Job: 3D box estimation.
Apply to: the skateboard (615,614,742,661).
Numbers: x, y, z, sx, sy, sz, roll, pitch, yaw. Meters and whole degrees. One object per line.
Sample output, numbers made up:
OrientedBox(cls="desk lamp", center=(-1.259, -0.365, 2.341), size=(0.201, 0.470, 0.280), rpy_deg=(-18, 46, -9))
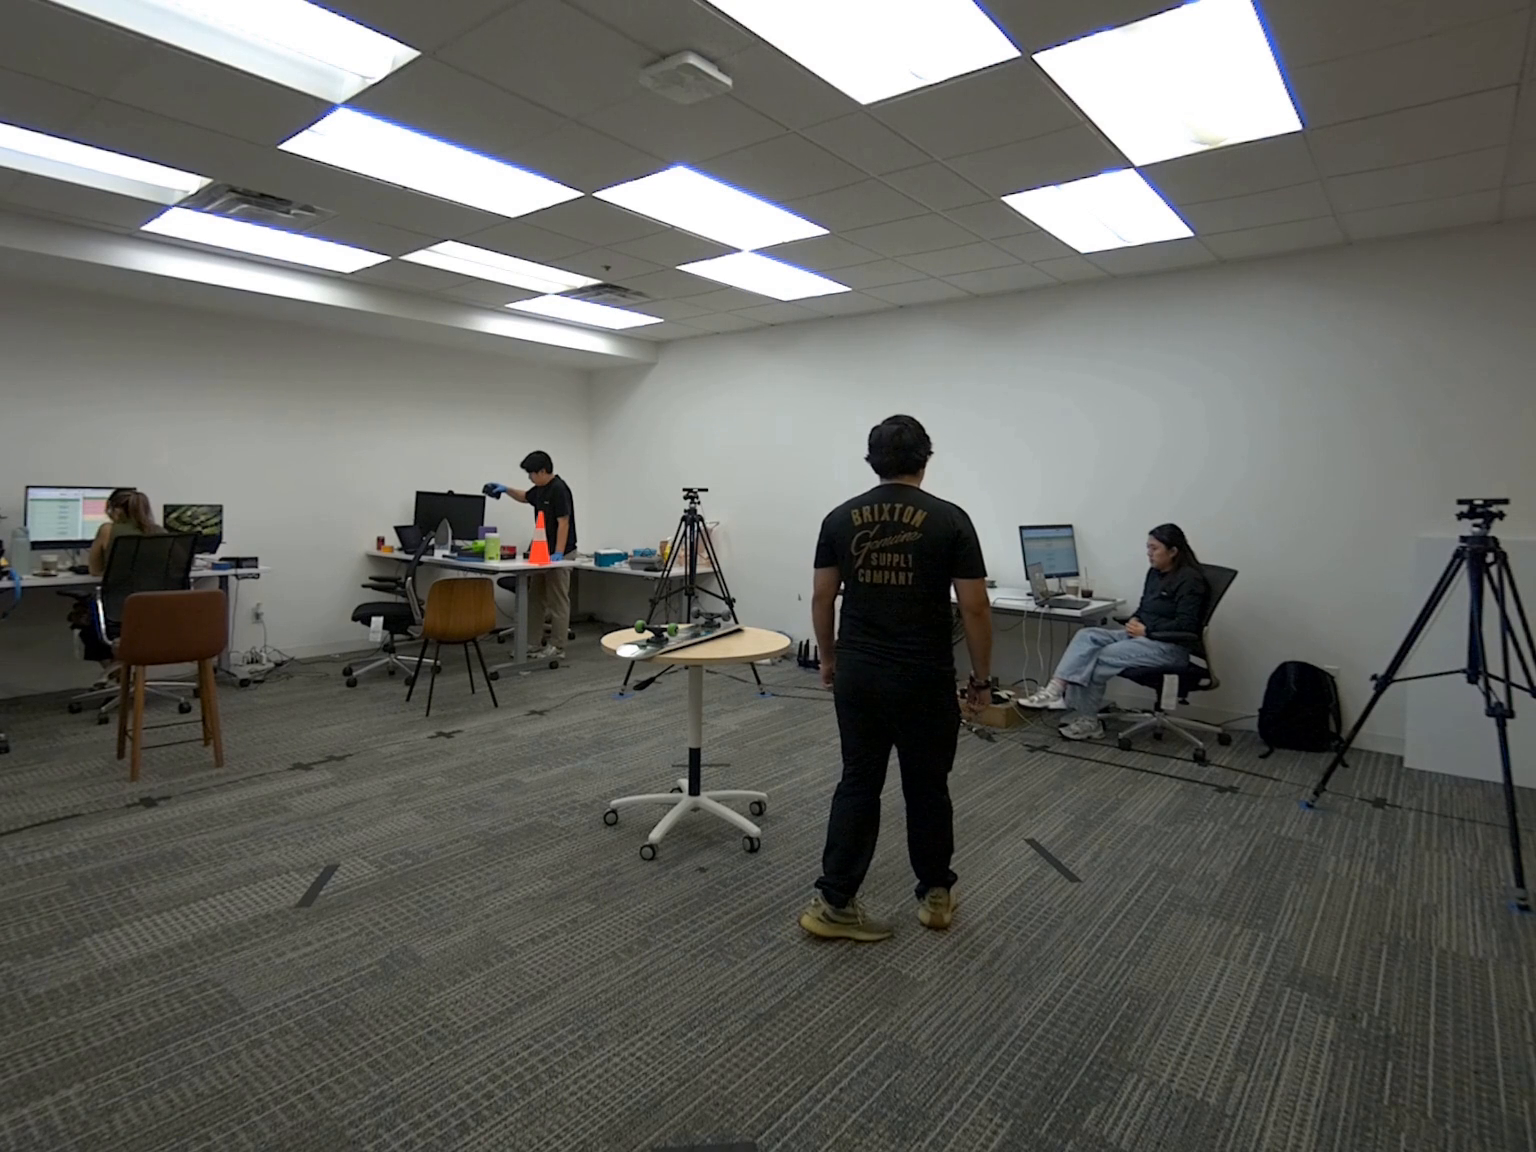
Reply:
OrientedBox(cls="skateboard", center=(-0.347, 0.213, 3.427), size=(0.199, 0.110, 0.766), rpy_deg=(6, 9, 30))
